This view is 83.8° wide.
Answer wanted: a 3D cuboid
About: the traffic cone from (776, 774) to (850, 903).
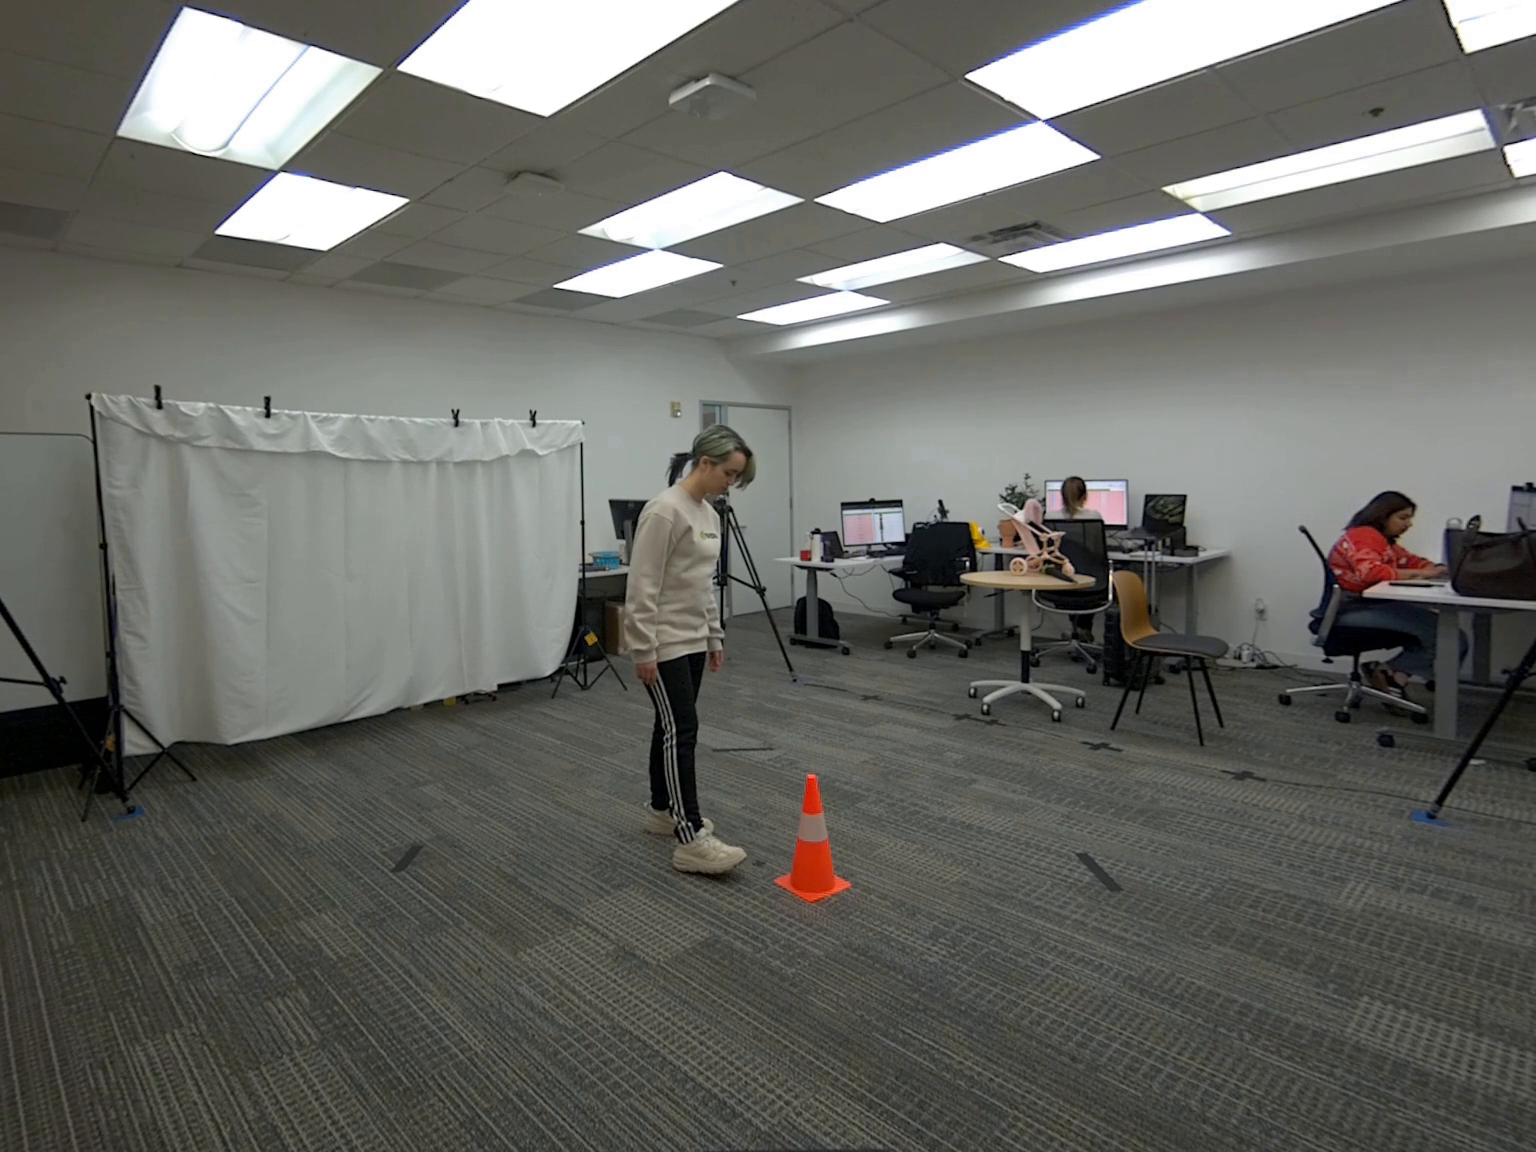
[{"bbox_3d":[0.152,0.879,2.939,0.200,0.382,0.209,-6,5,-34],"label":"traffic cone"}]
